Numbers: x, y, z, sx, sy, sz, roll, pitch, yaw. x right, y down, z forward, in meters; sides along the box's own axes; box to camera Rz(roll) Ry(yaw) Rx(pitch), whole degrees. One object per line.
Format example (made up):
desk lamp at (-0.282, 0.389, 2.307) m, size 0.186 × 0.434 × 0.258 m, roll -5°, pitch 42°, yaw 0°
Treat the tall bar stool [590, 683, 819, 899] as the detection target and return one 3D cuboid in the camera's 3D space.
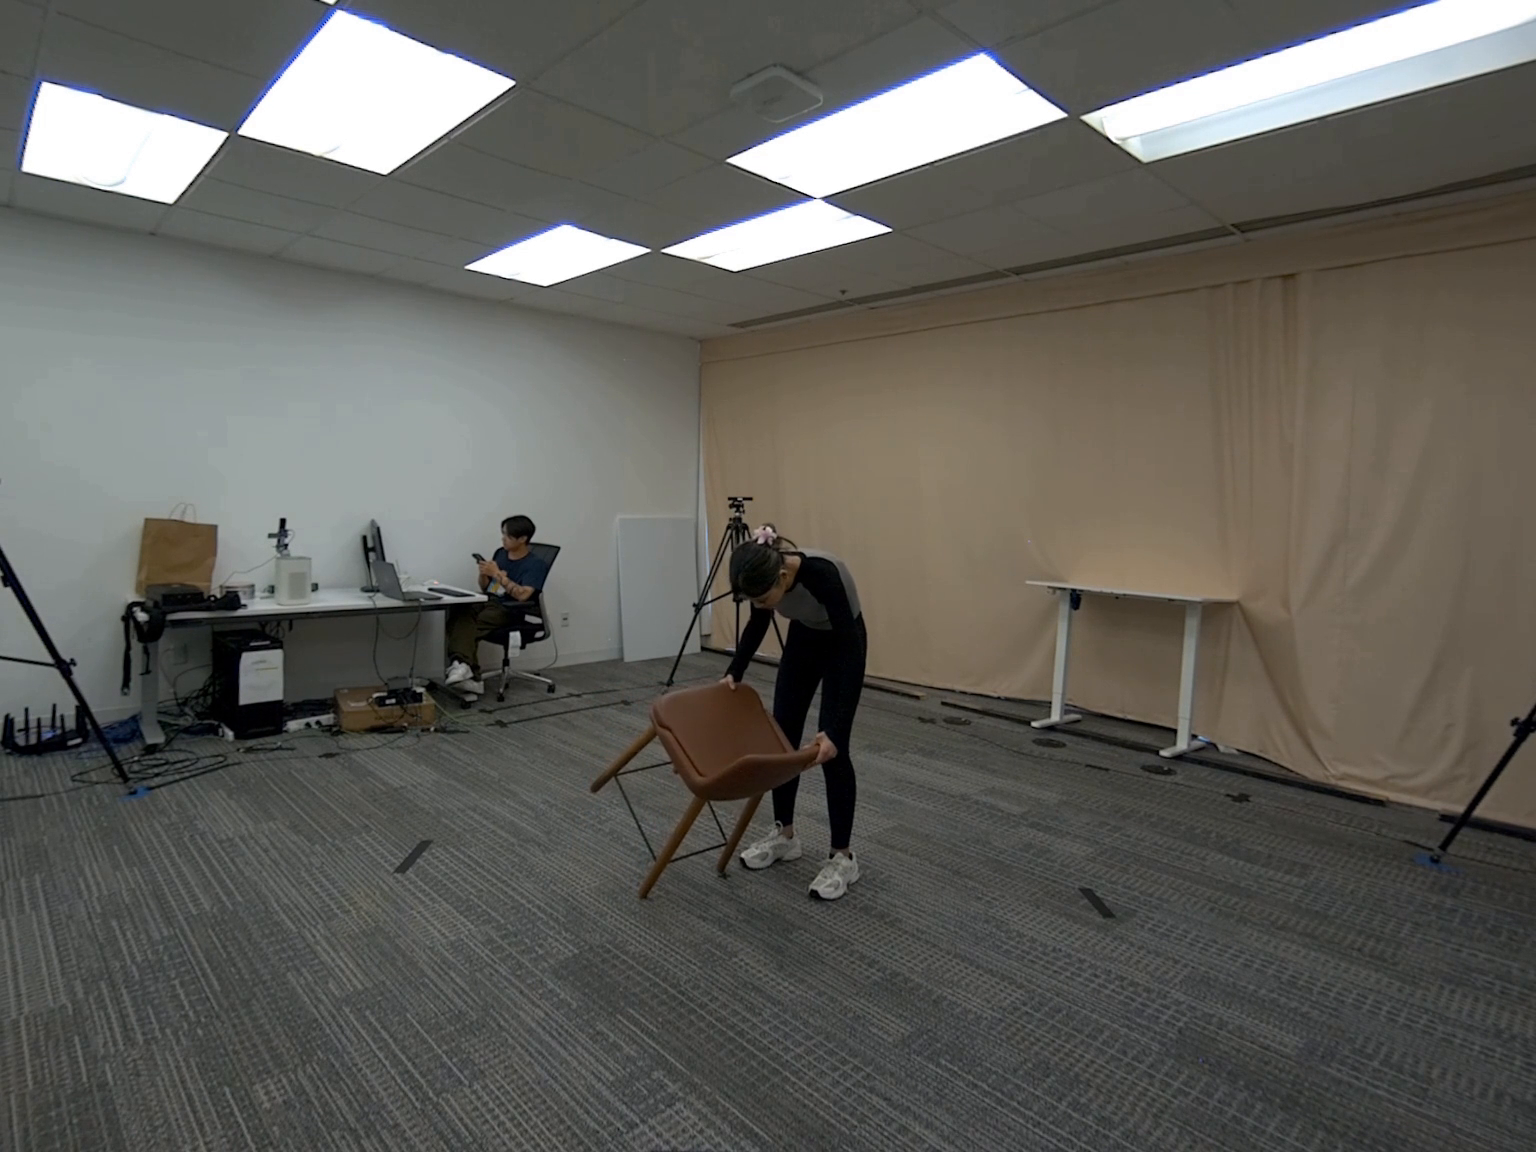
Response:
tall bar stool at (-0.210, 0.662, 2.894) m, size 0.446 × 0.480 × 0.886 m, roll -2°, pitch -41°, yaw -41°
